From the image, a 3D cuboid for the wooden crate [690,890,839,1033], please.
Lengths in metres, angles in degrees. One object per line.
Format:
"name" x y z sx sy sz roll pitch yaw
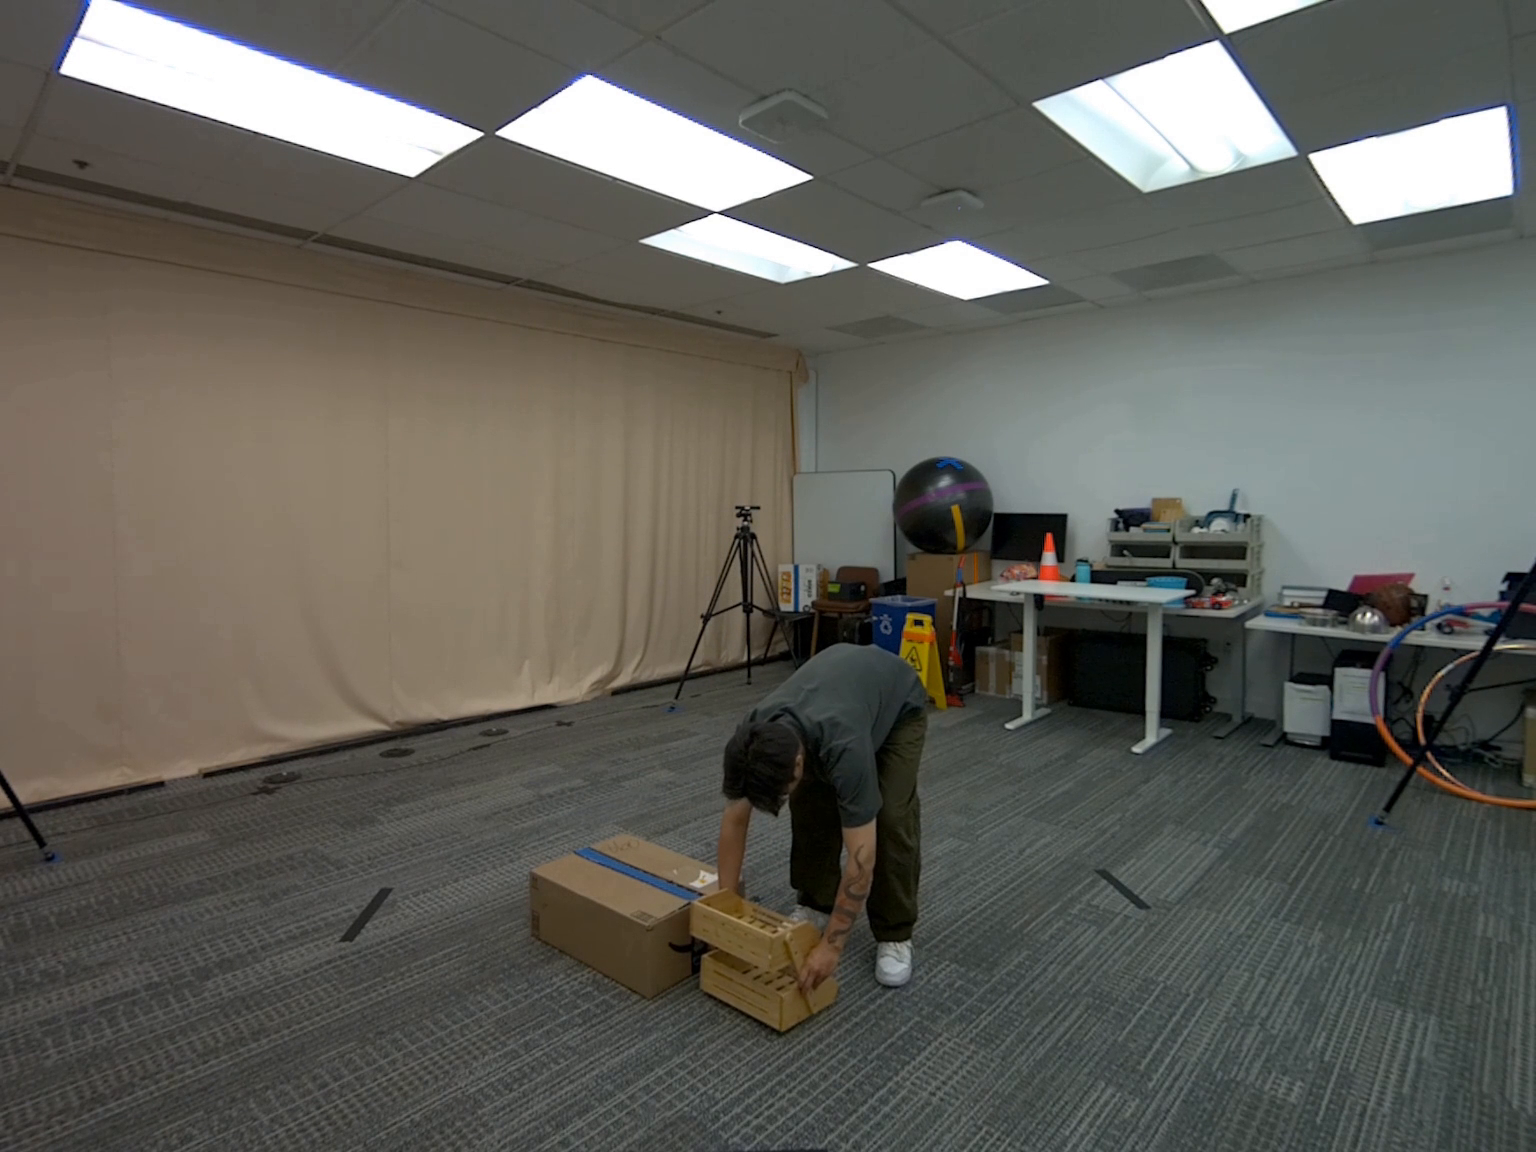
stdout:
"wooden crate" -0.008 1.054 2.355 0.335 0.273 0.292 3 0 42
